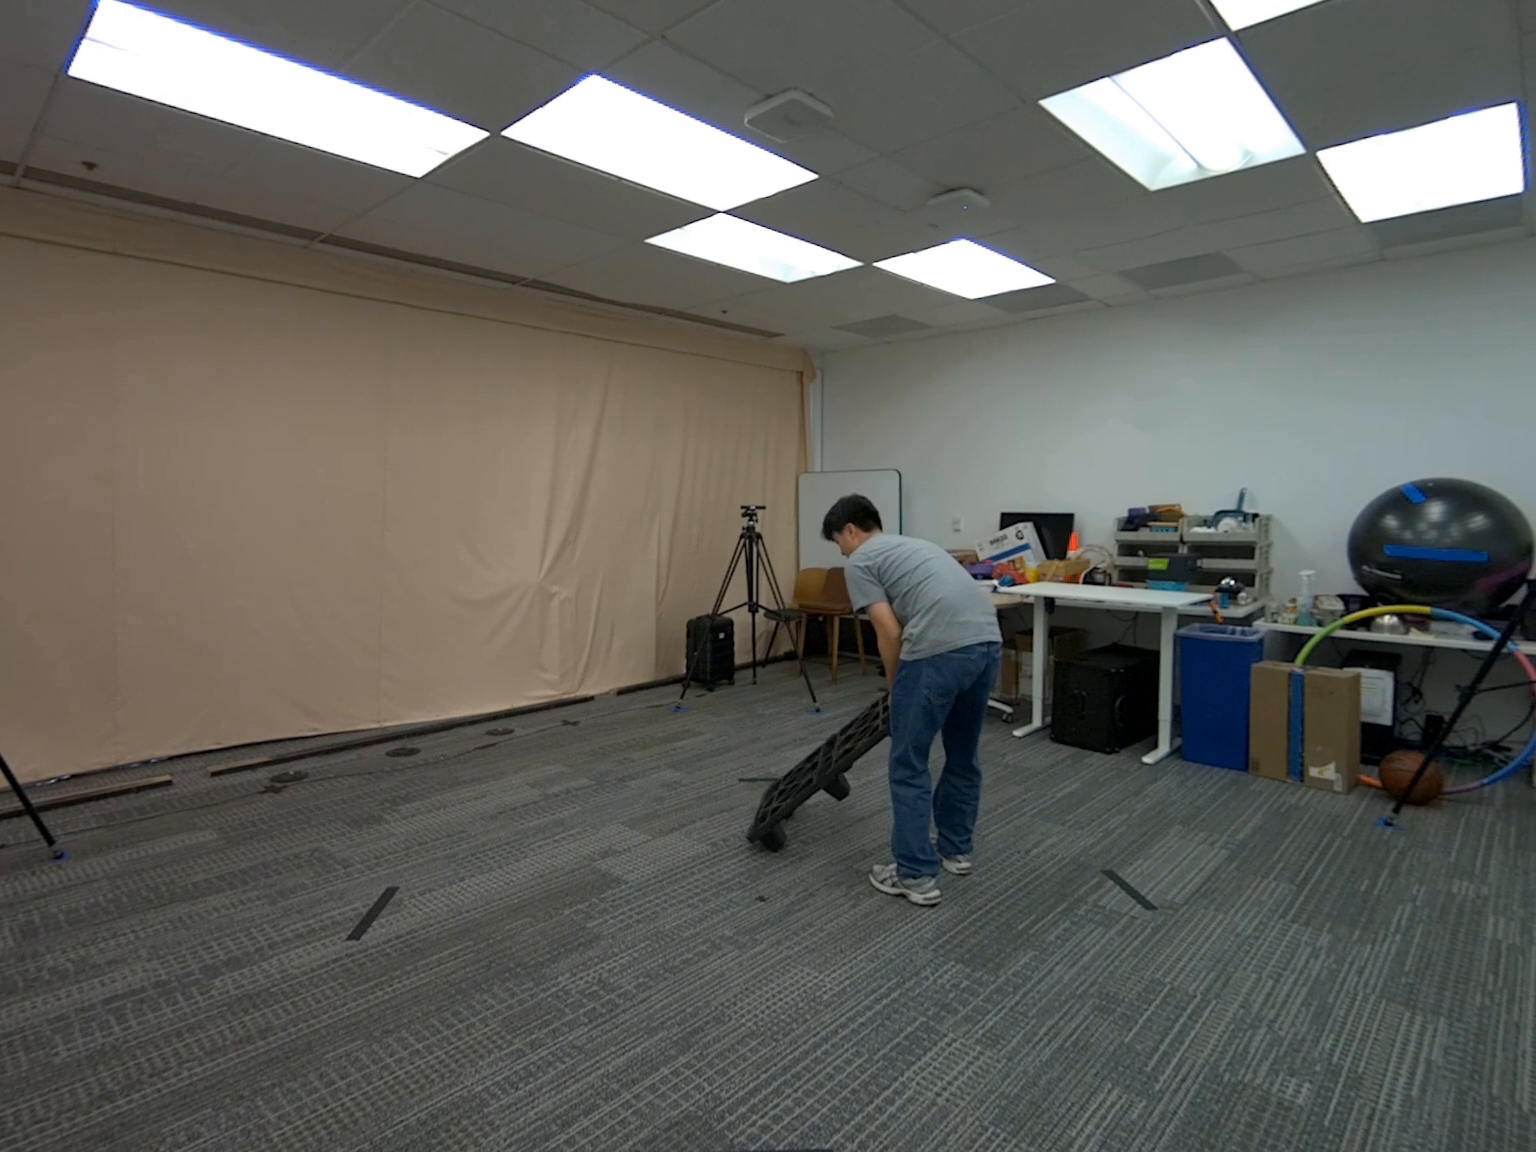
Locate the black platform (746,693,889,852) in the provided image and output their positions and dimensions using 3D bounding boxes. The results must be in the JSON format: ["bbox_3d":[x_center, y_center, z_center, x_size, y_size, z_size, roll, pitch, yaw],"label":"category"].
[{"bbox_3d":[0.288,0.798,3.539,0.808,0.144,0.600,-41,-1,10],"label":"black platform"}]
